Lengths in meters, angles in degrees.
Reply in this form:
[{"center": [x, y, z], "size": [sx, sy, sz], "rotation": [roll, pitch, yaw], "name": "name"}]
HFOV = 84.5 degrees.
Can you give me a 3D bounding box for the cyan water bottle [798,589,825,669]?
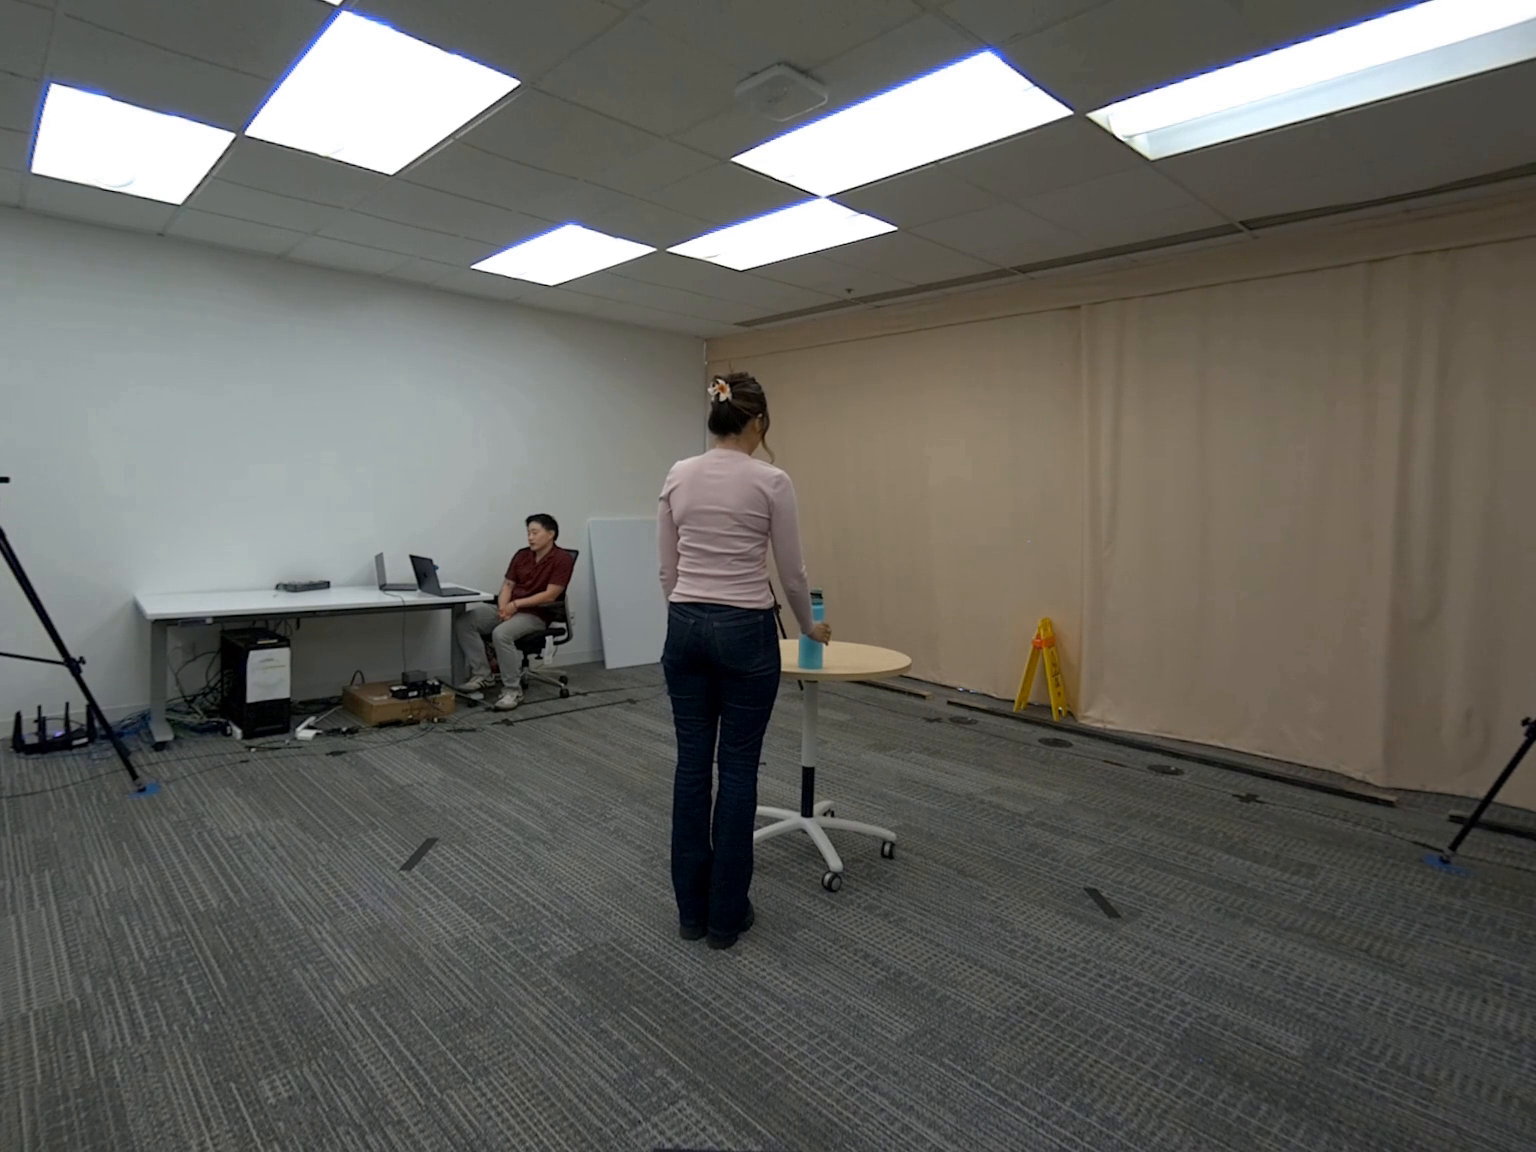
[{"center": [0.153, 0.193, 3.034], "size": [0.092, 0.282, 0.093], "rotation": [2, 5, -2], "name": "cyan water bottle"}]
